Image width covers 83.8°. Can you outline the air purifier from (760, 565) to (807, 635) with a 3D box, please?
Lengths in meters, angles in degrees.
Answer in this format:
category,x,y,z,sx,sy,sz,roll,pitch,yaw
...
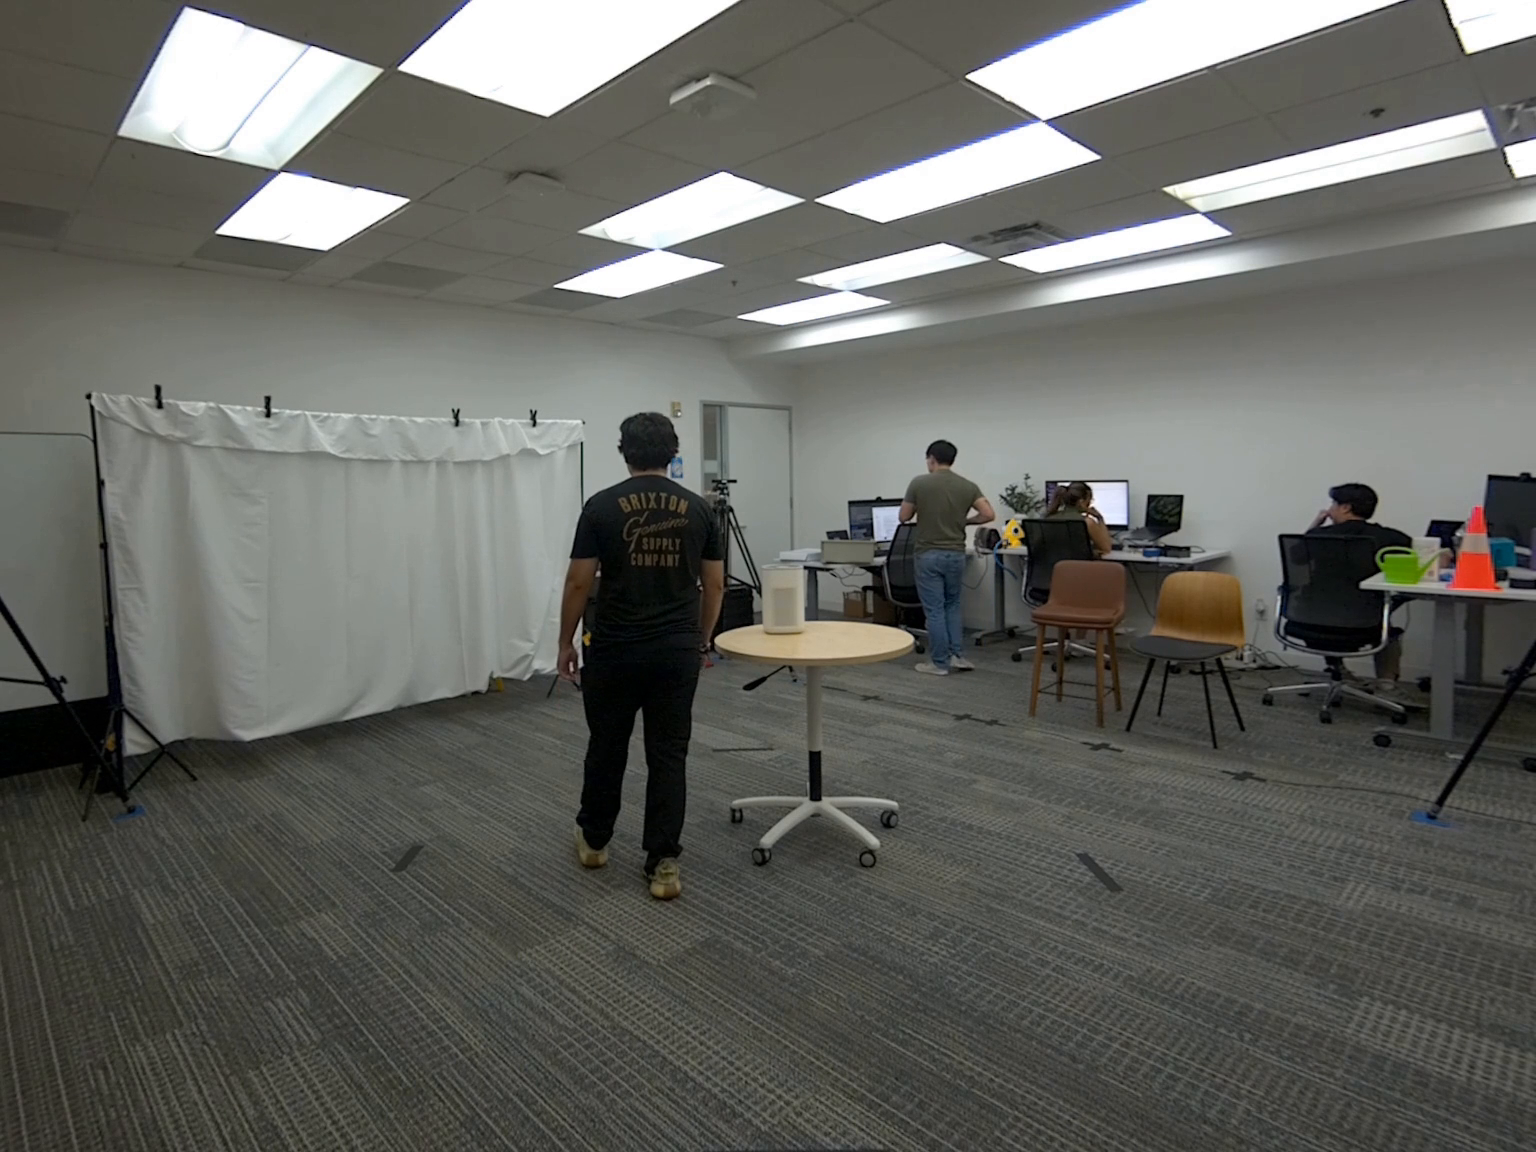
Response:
category,x,y,z,sx,sy,sz,roll,pitch,yaw
air purifier,0.069,0.089,3.466,0.172,0.264,0.172,-1,6,1
